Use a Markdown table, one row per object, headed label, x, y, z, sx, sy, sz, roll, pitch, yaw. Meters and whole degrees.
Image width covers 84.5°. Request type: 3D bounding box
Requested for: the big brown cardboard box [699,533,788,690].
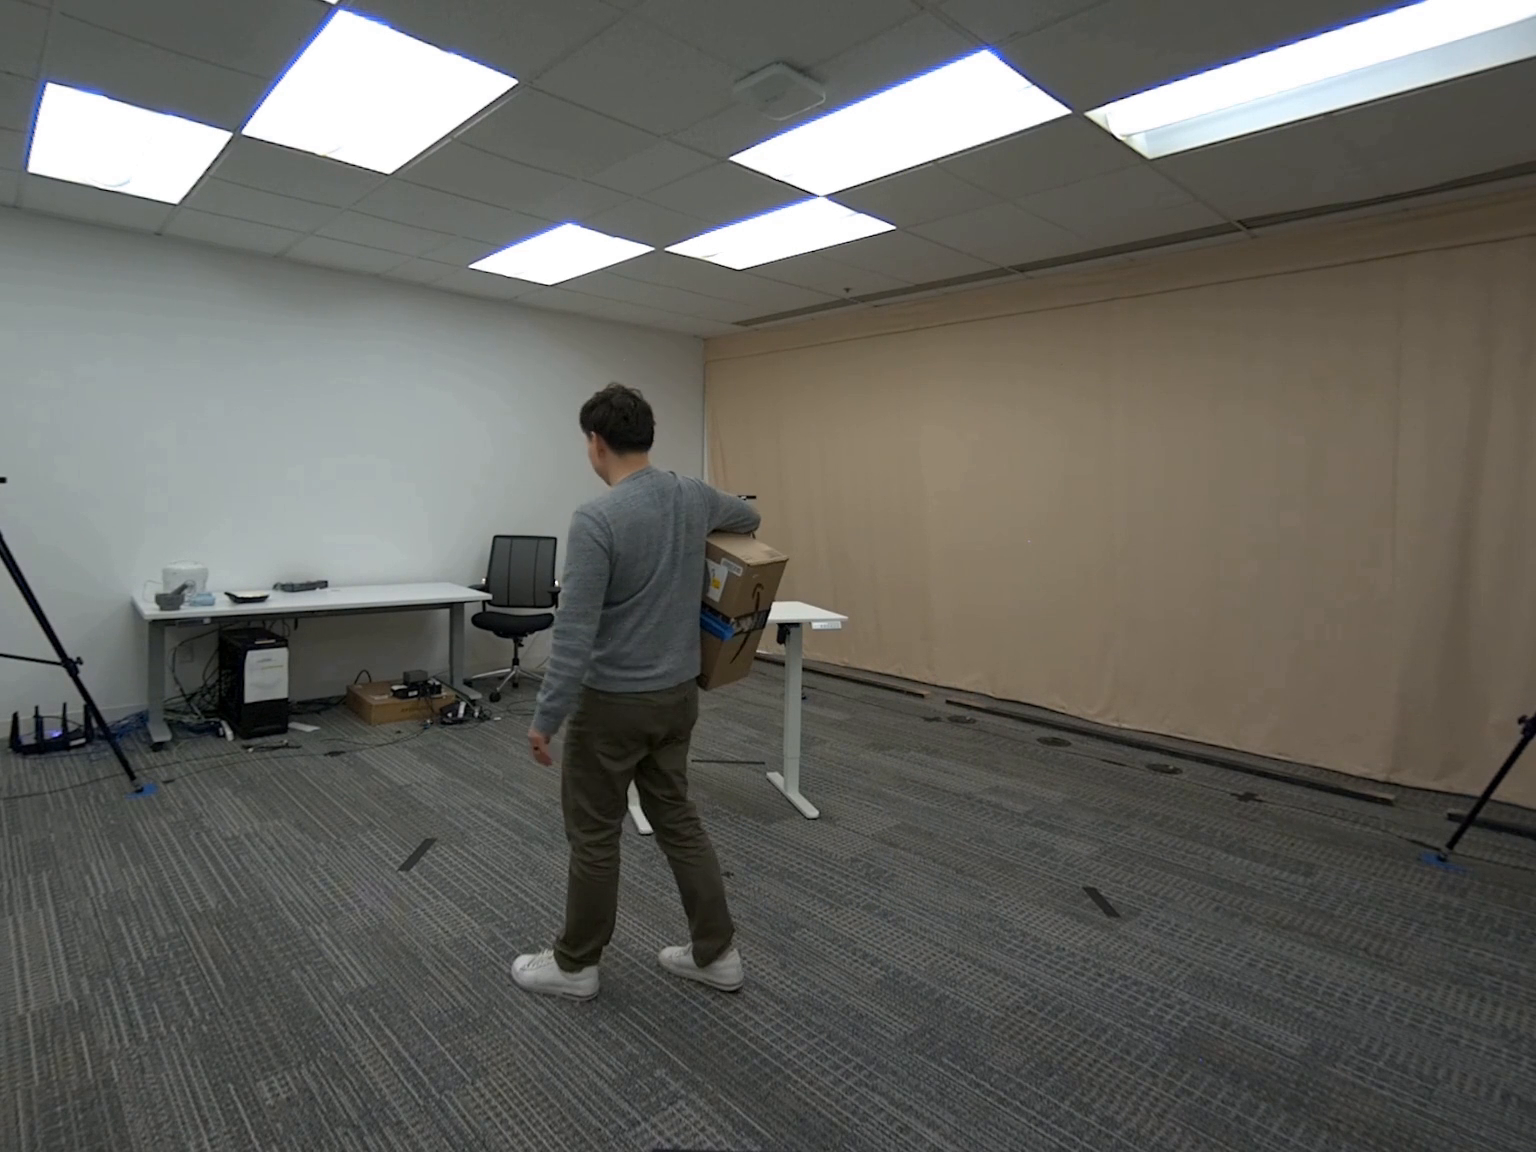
| label | x | y | z | sx | sy | sz | roll | pitch | yaw |
| --- | --- | --- | --- | --- | --- | --- | --- | --- | --- |
| big brown cardboard box | -0.271 | 0.025 | 2.612 | 0.605 | 0.414 | 0.228 | 28 | 21 | 31 |
